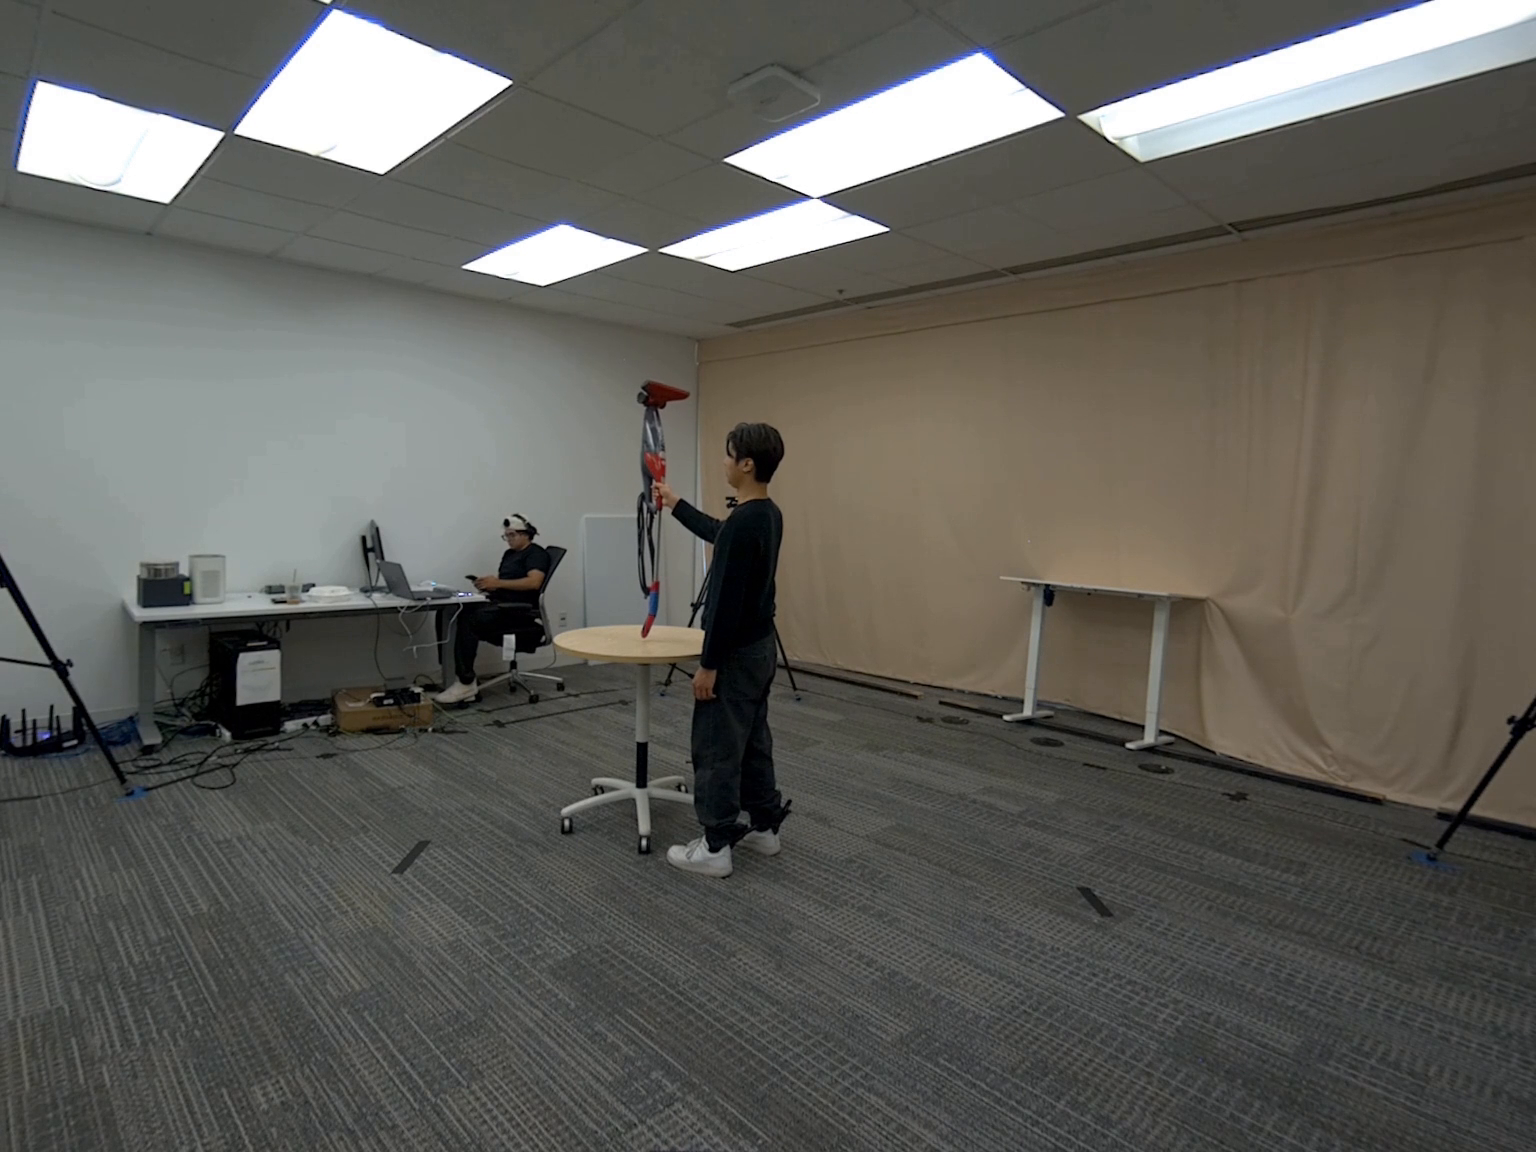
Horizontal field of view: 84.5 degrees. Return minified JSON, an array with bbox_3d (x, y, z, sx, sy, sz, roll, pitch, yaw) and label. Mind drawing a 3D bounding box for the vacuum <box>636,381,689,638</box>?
[{"bbox_3d":[-0.512,-0.270,3.596,0.147,1.051,0.246,1,-3,41],"label":"vacuum"}]
